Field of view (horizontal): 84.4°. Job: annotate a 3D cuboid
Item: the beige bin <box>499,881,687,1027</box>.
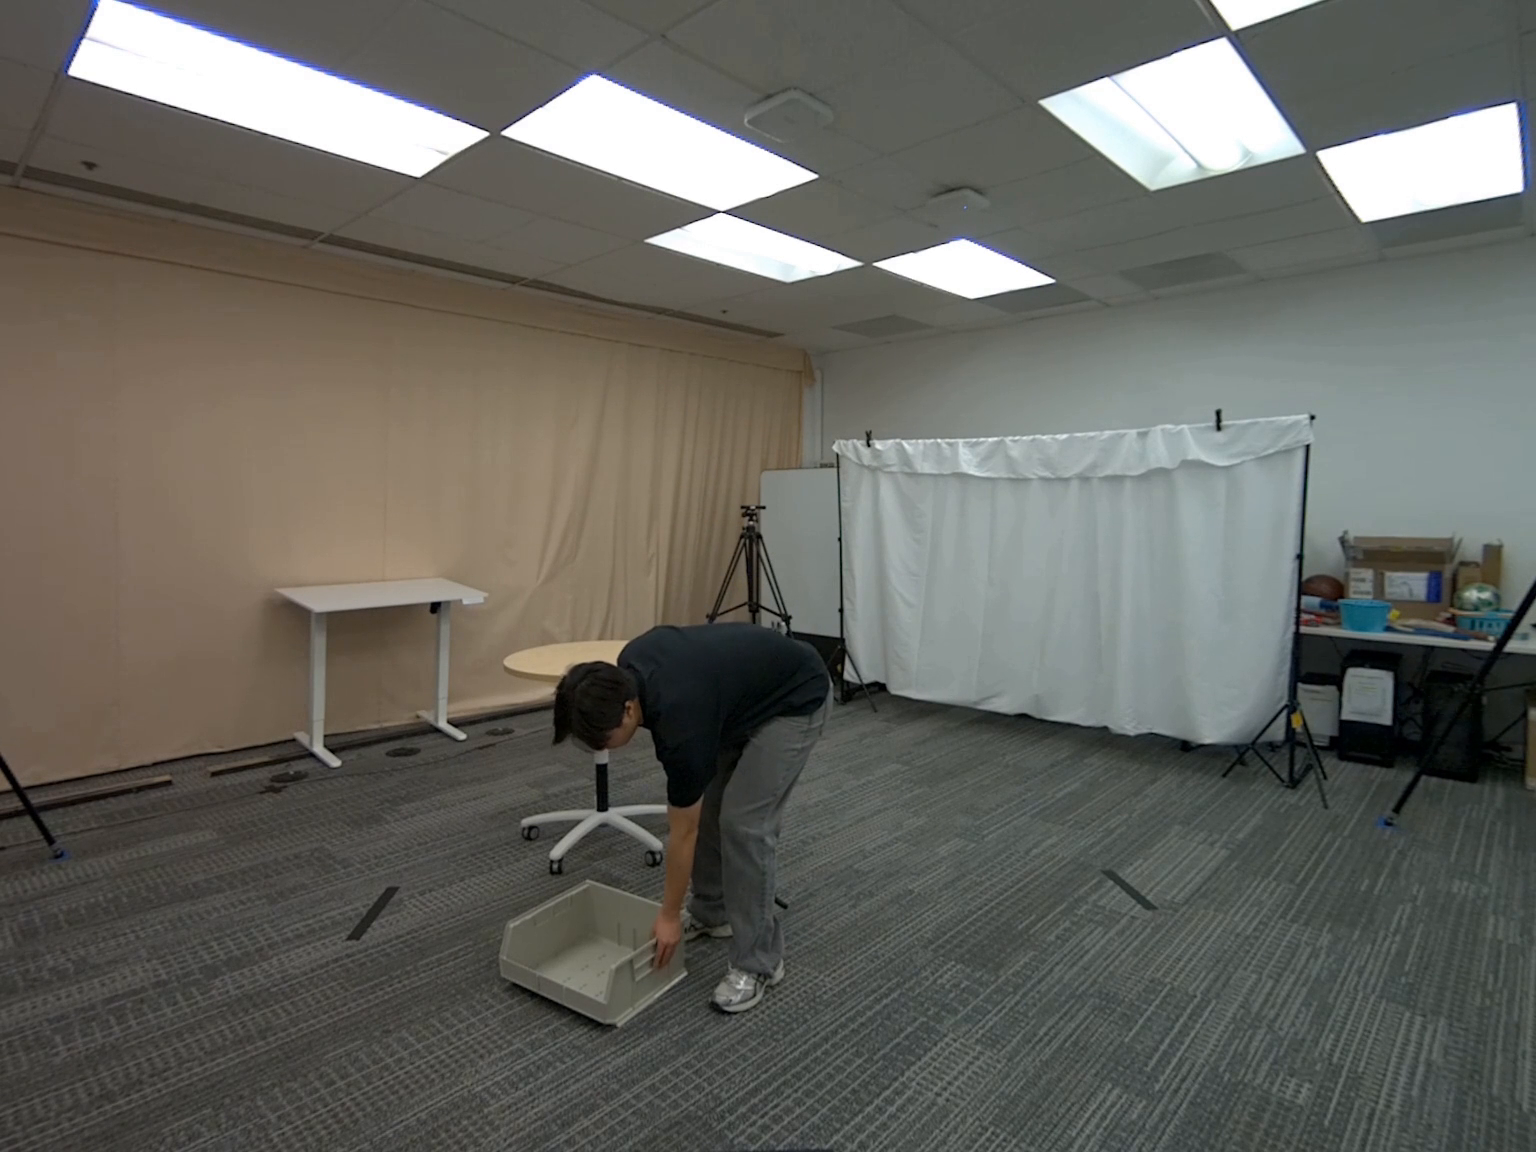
[{"bbox_3d":[-0.494,1.093,2.470,0.435,0.188,0.366,2,4,34],"label":"beige bin"}]
